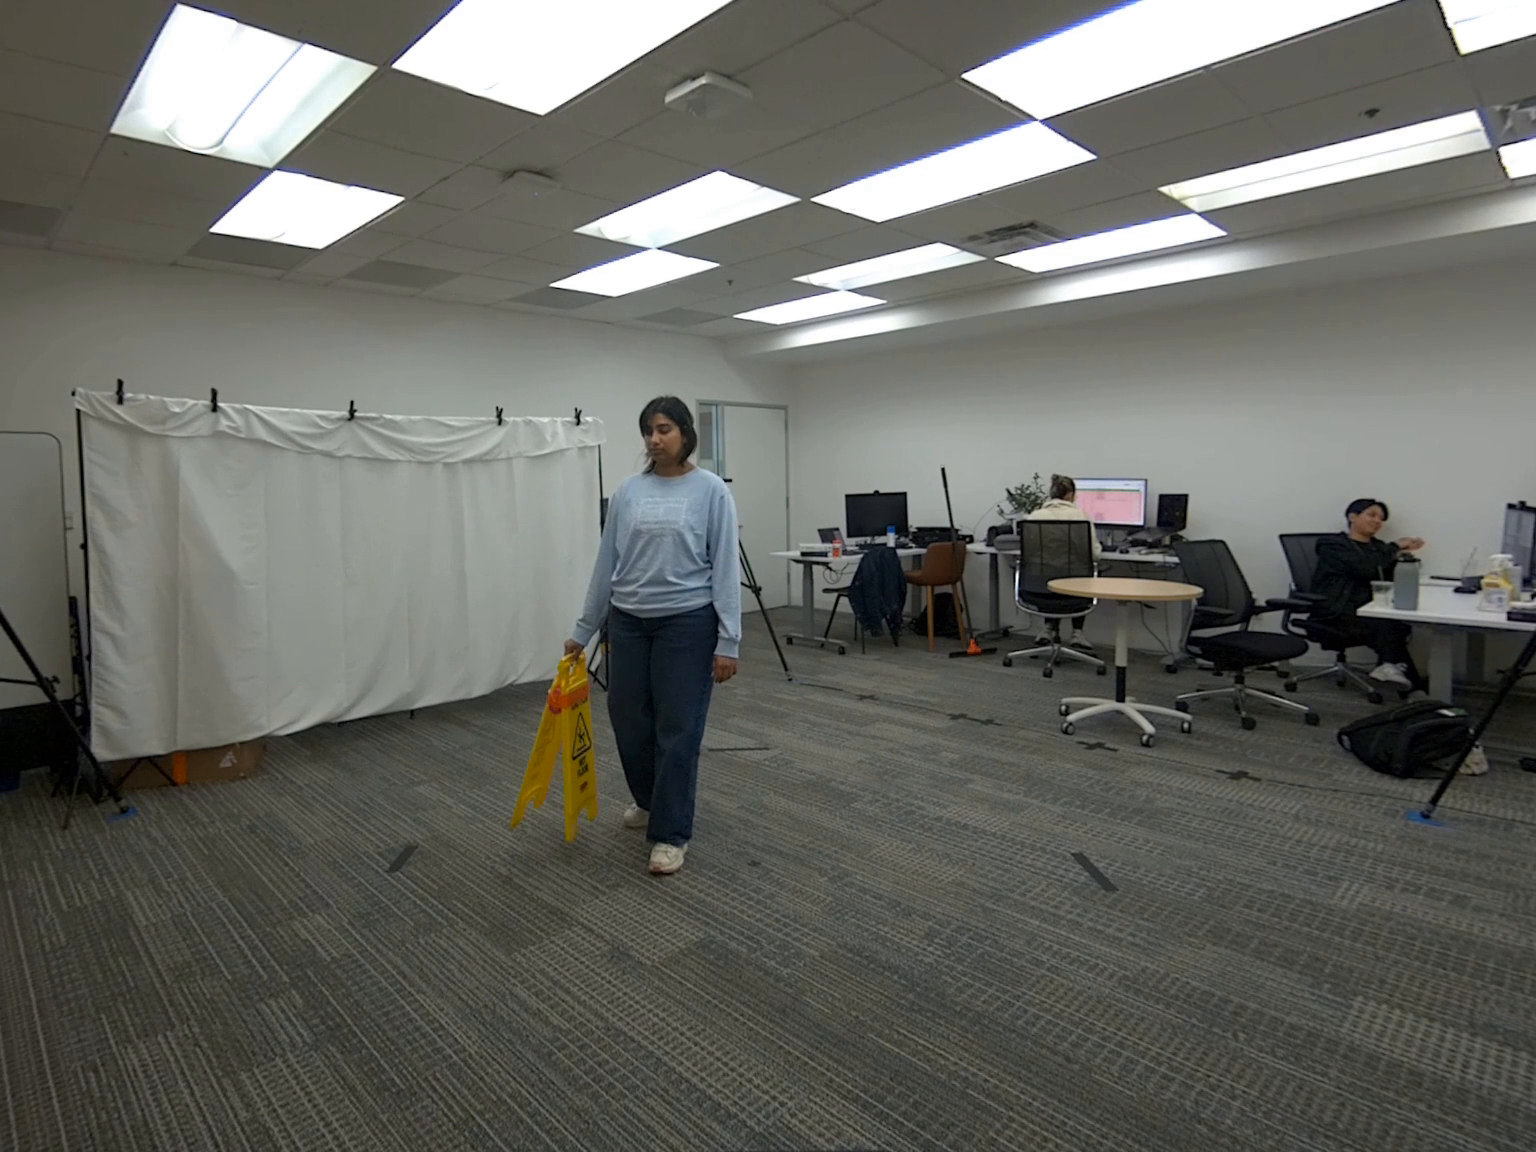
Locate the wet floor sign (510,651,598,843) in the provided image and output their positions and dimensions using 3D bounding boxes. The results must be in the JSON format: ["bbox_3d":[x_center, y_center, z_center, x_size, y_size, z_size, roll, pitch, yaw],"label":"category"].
[{"bbox_3d":[-0.770,0.619,3.204,0.293,0.645,0.279,7,3,10],"label":"wet floor sign"}]
